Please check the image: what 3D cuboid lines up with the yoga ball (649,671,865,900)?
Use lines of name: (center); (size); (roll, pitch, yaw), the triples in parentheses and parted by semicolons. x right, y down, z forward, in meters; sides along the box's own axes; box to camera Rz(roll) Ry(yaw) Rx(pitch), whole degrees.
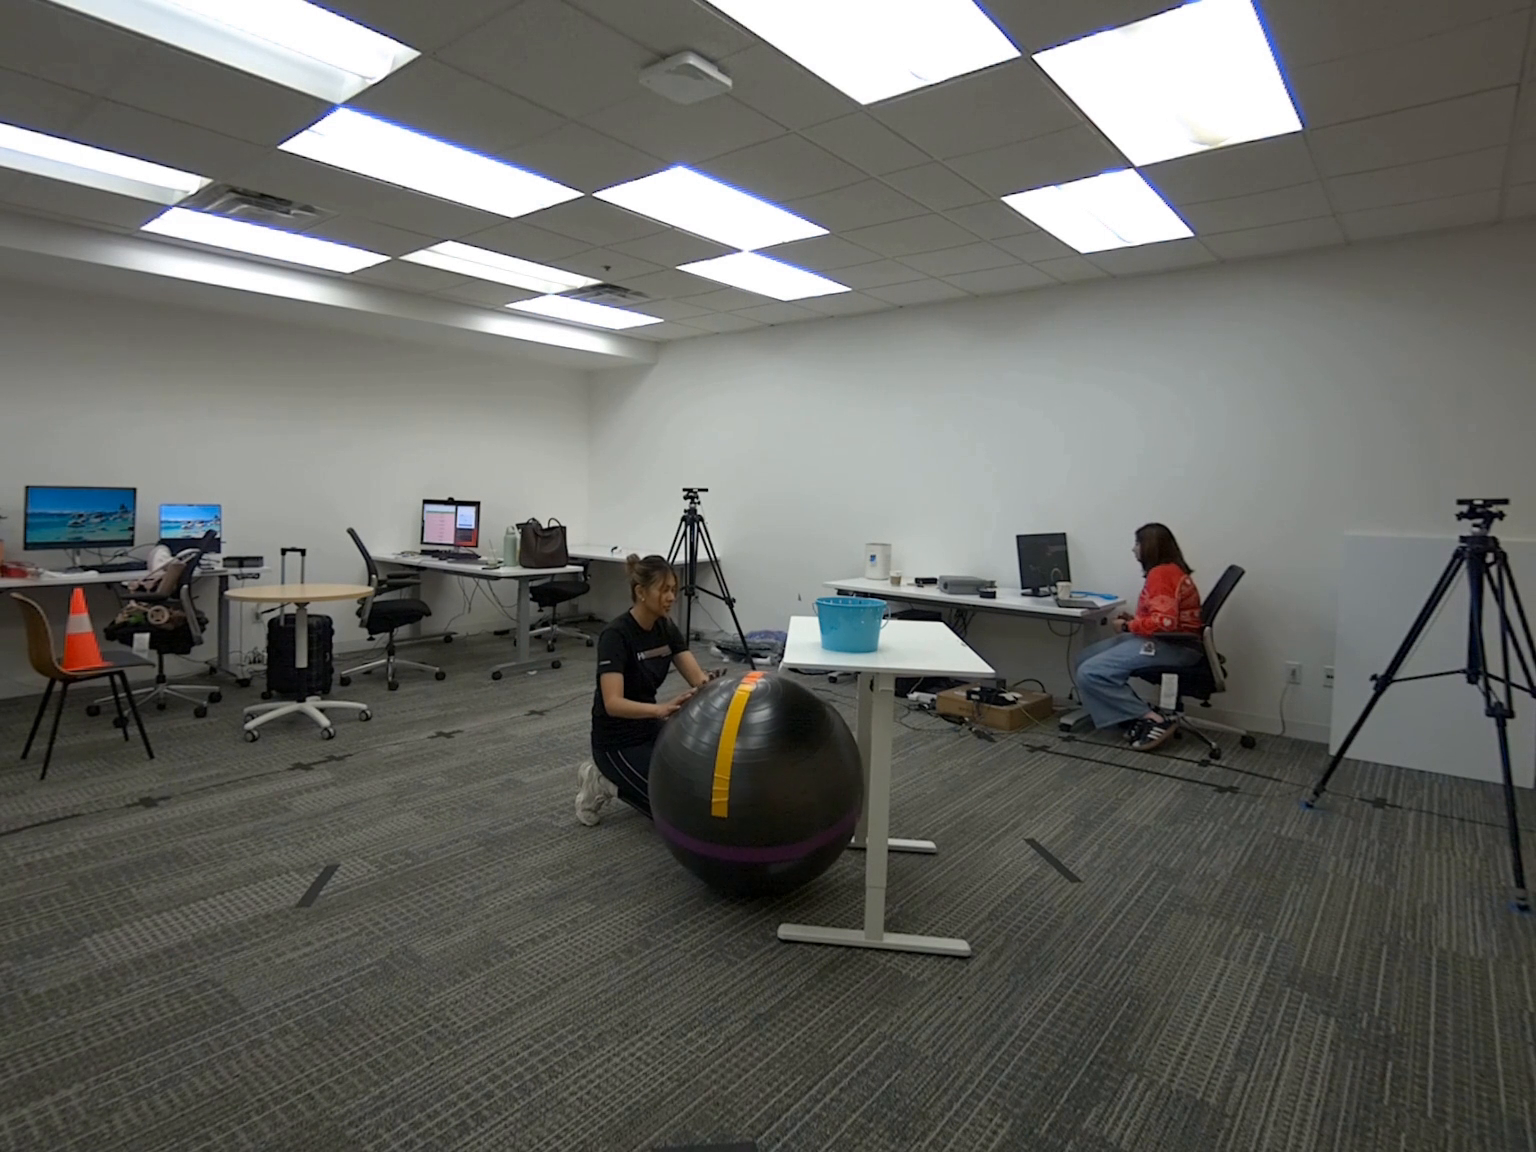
yoga ball: (-0.045, 0.718, 2.990); (0.757, 0.756, 0.762); (1, 4, -2)
